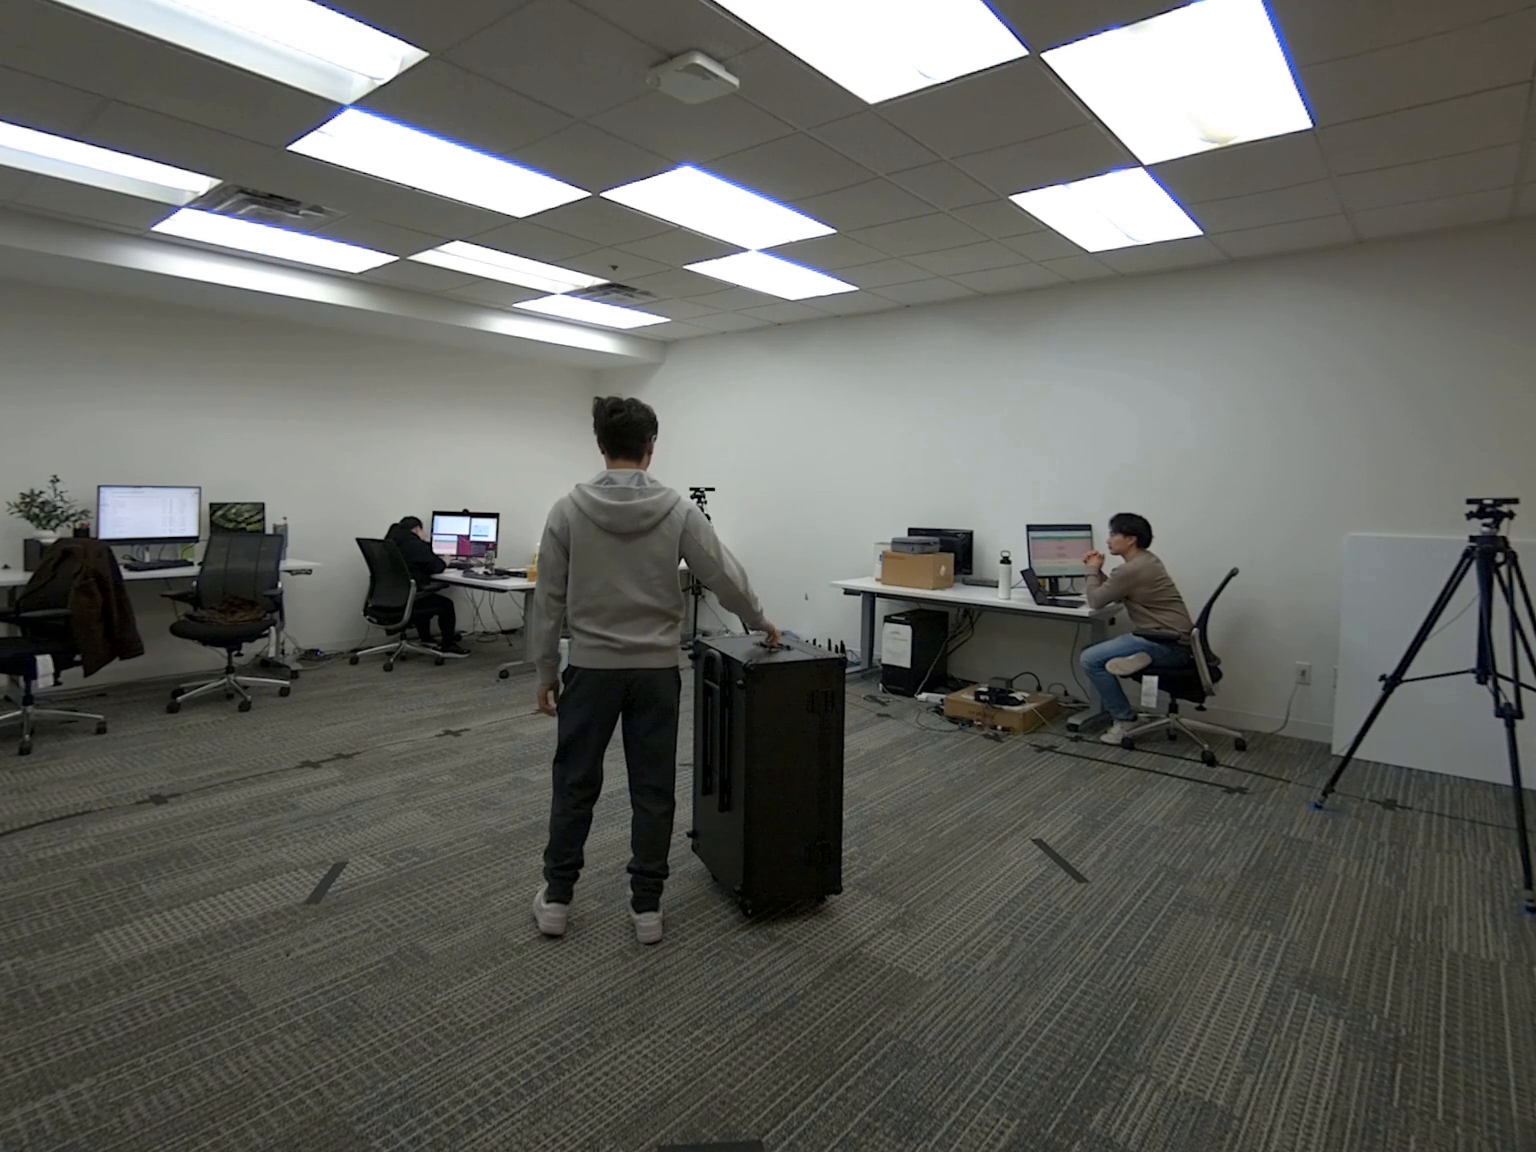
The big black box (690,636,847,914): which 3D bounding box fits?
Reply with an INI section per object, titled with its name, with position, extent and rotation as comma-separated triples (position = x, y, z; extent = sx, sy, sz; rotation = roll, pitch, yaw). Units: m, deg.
[big black box]
position = -0.025, 0.661, 2.917
extent = 0.387, 0.858, 0.535
rotation = -1, 4, -24
